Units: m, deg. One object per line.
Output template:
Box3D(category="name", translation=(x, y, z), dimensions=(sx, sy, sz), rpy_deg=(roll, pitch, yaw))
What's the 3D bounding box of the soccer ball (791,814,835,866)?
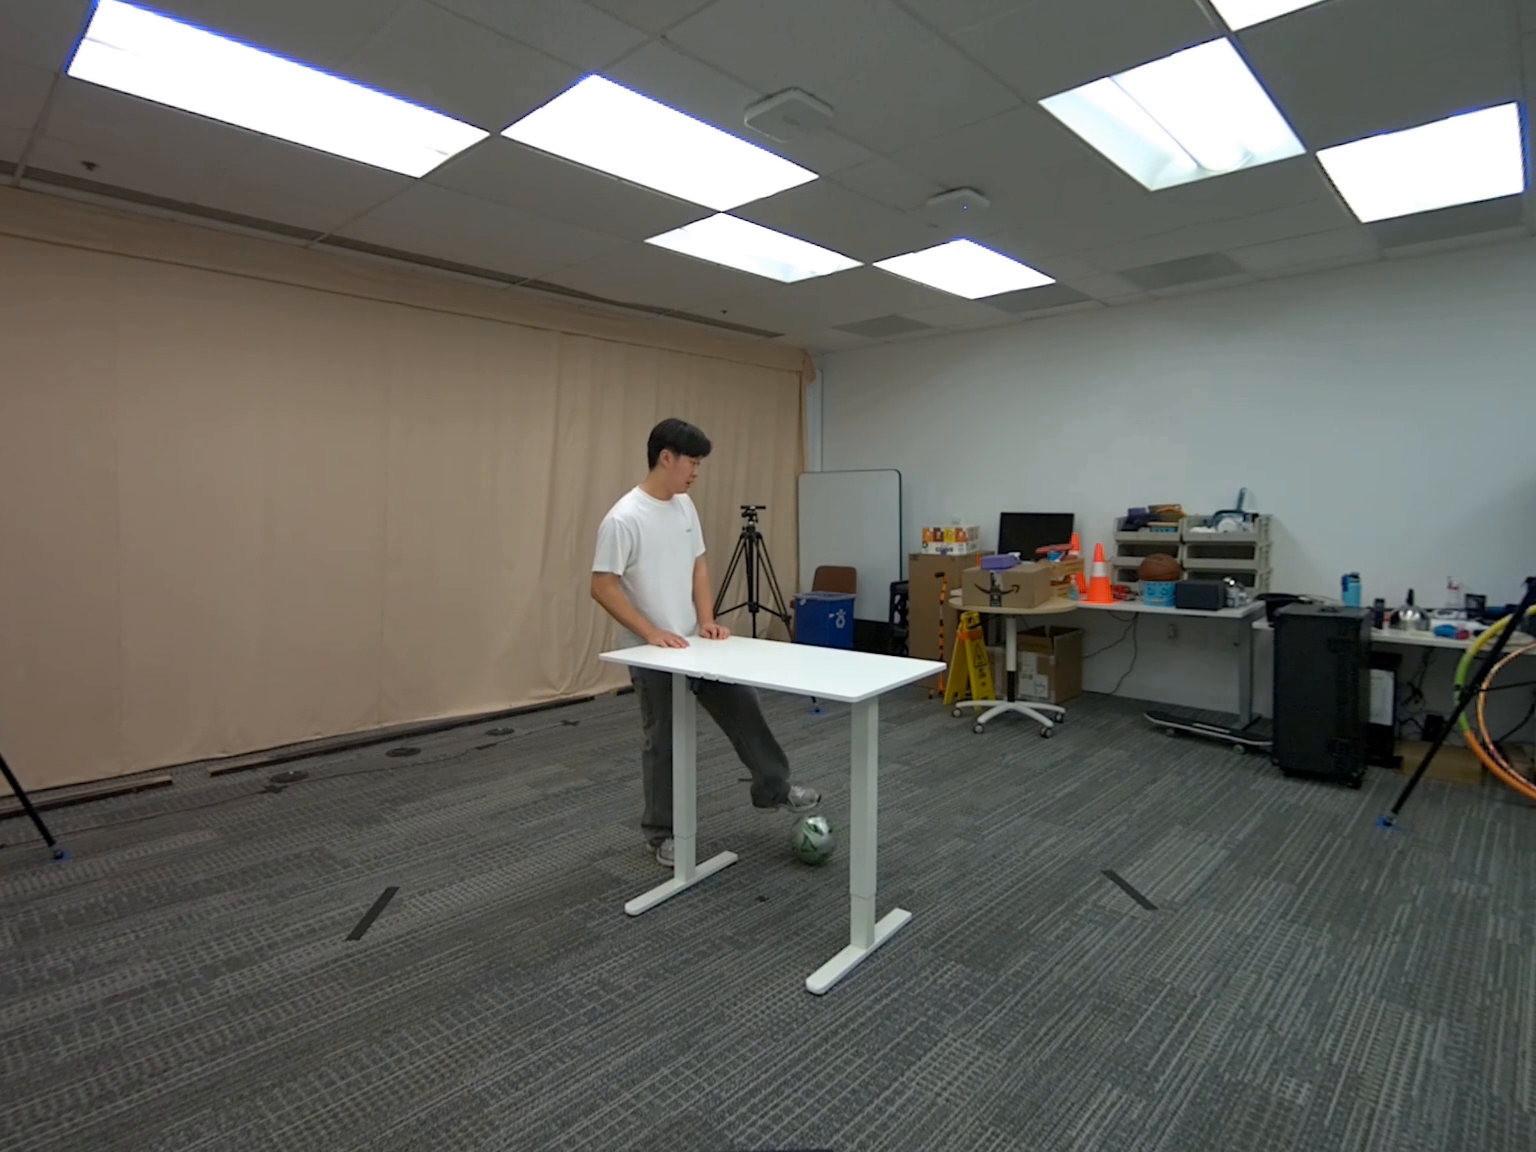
Box3D(category="soccer ball", translation=(0.182, 1.025, 3.278), dimensions=(0.187, 0.187, 0.188), rpy_deg=(0, 4, -2))
